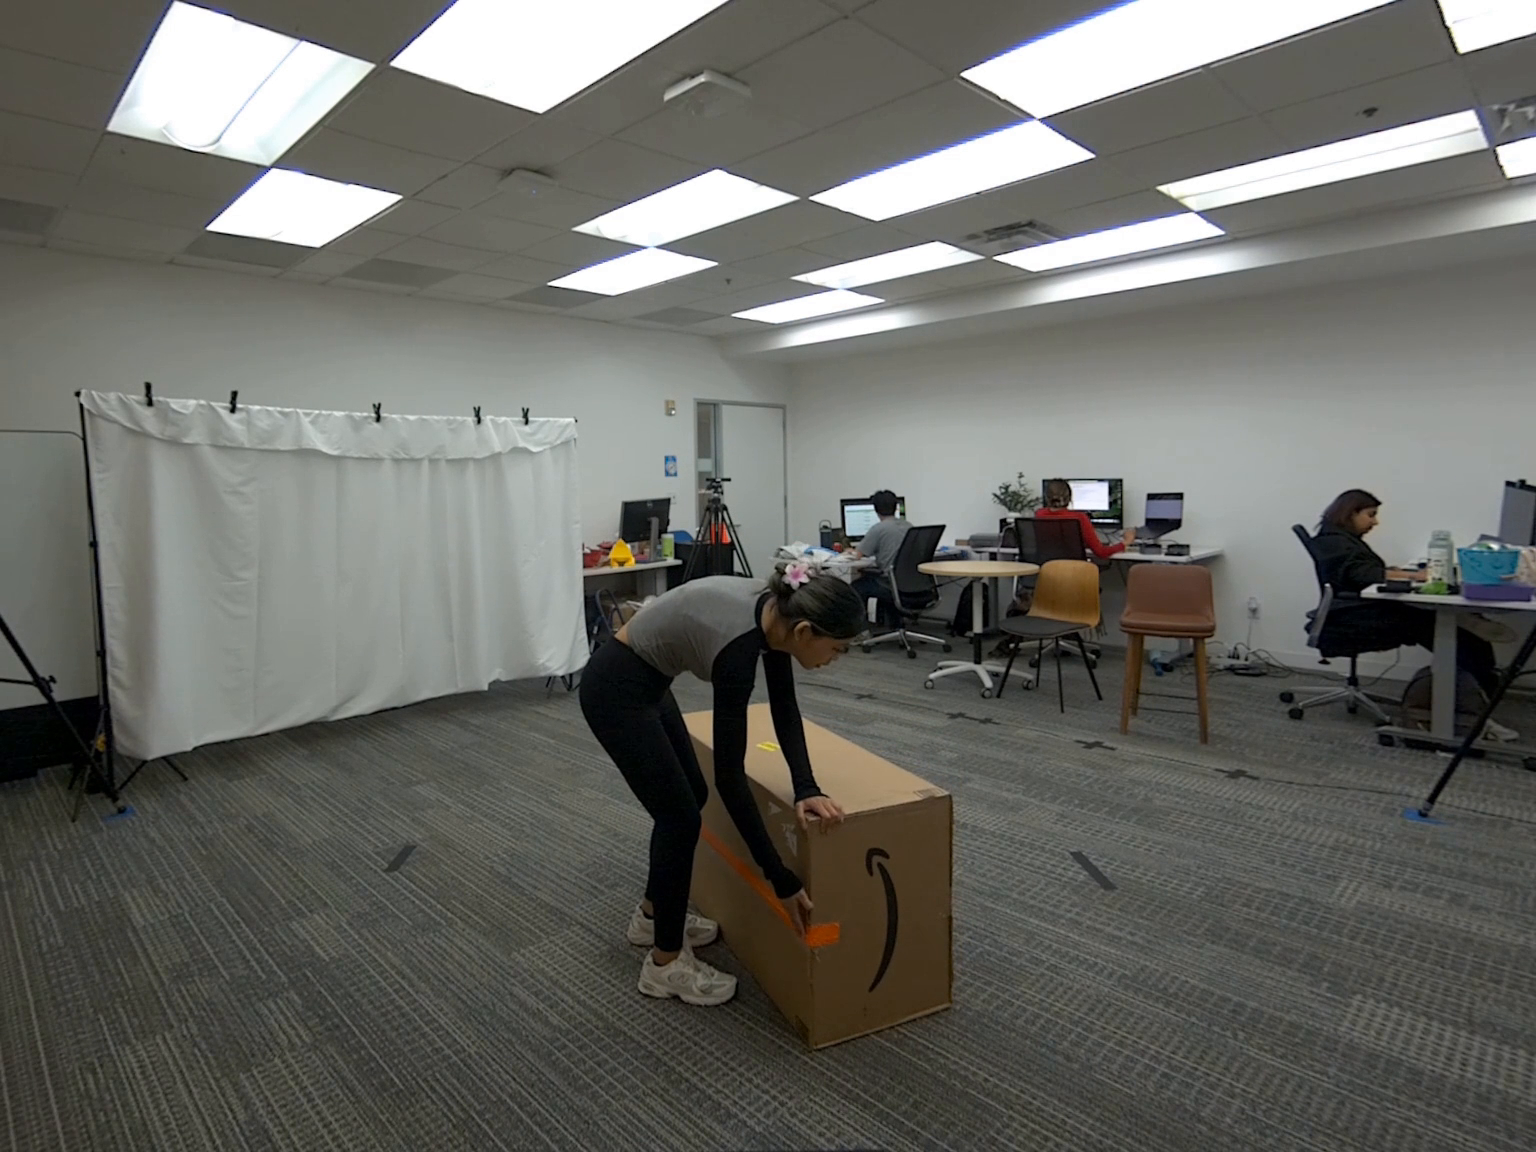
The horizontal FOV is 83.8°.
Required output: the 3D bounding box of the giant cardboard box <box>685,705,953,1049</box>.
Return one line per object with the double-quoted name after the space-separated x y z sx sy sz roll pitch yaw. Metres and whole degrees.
0.070 0.809 2.618 0.437 0.581 1.053 -4 6 -26 "giant cardboard box"
